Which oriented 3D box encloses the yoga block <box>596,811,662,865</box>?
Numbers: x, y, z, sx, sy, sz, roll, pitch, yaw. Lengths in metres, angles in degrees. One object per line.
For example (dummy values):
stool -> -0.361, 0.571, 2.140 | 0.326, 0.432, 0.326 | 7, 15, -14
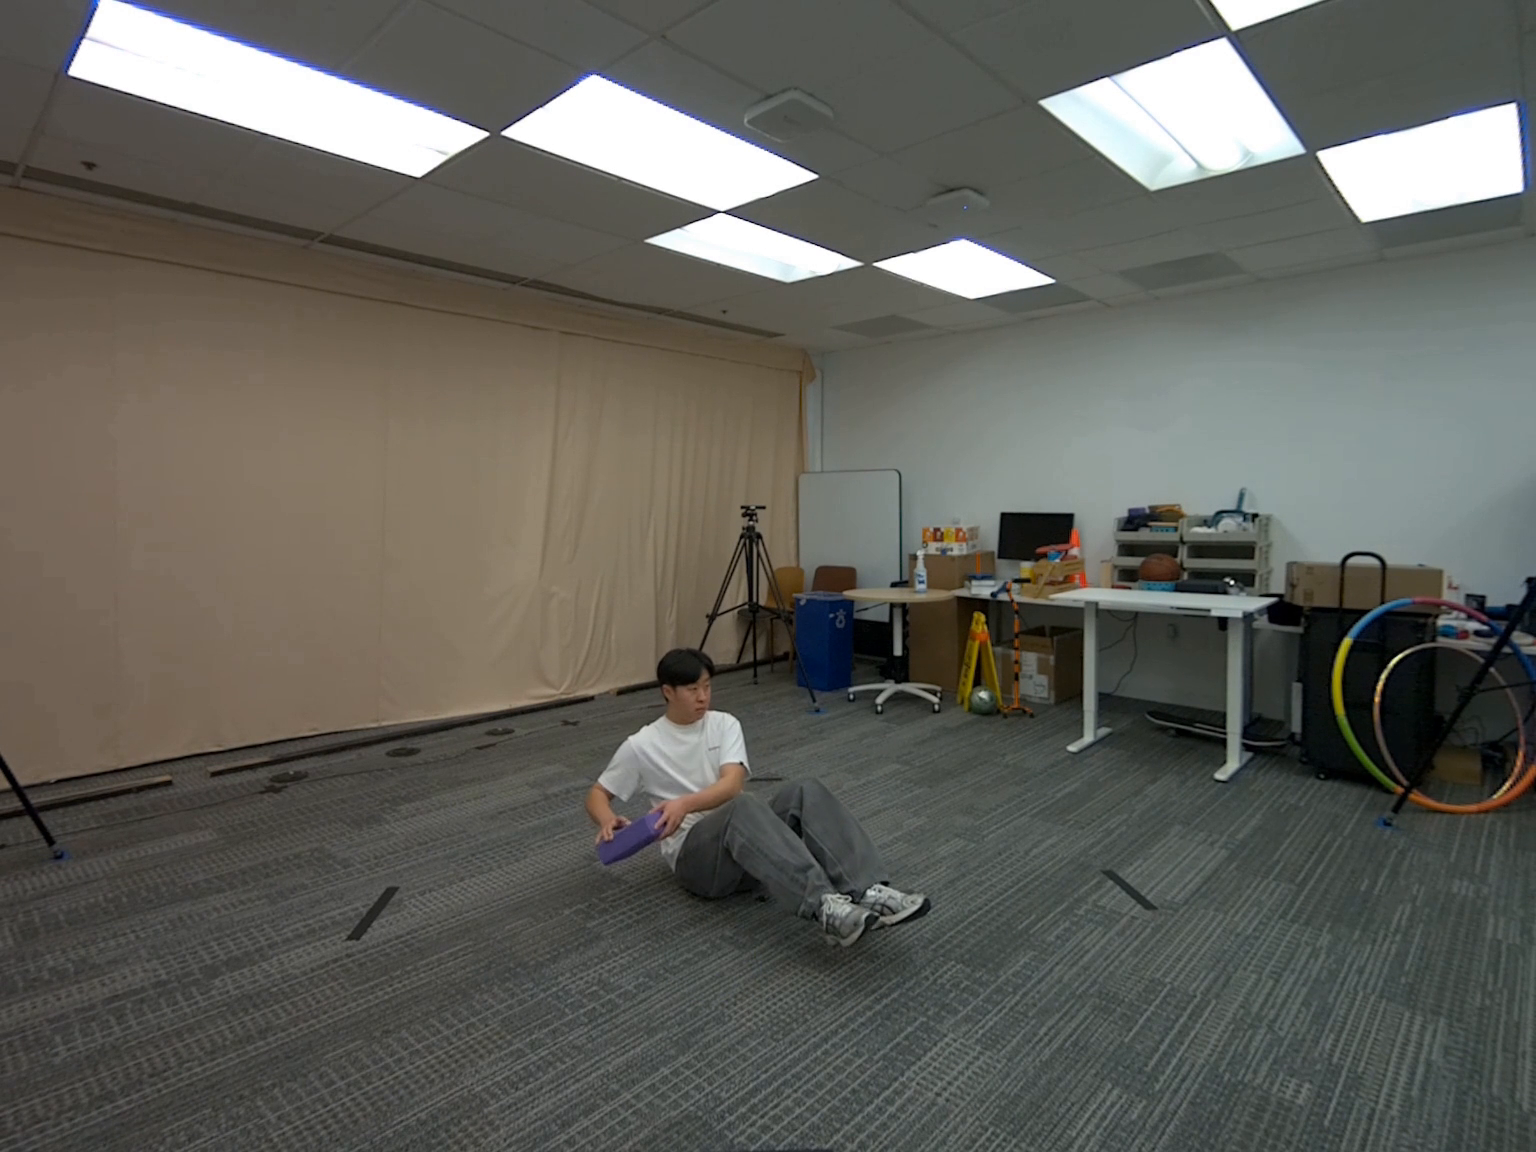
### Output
yoga block -> -0.433, 0.864, 2.840 | 0.231, 0.078, 0.145 | -38, -19, 14
